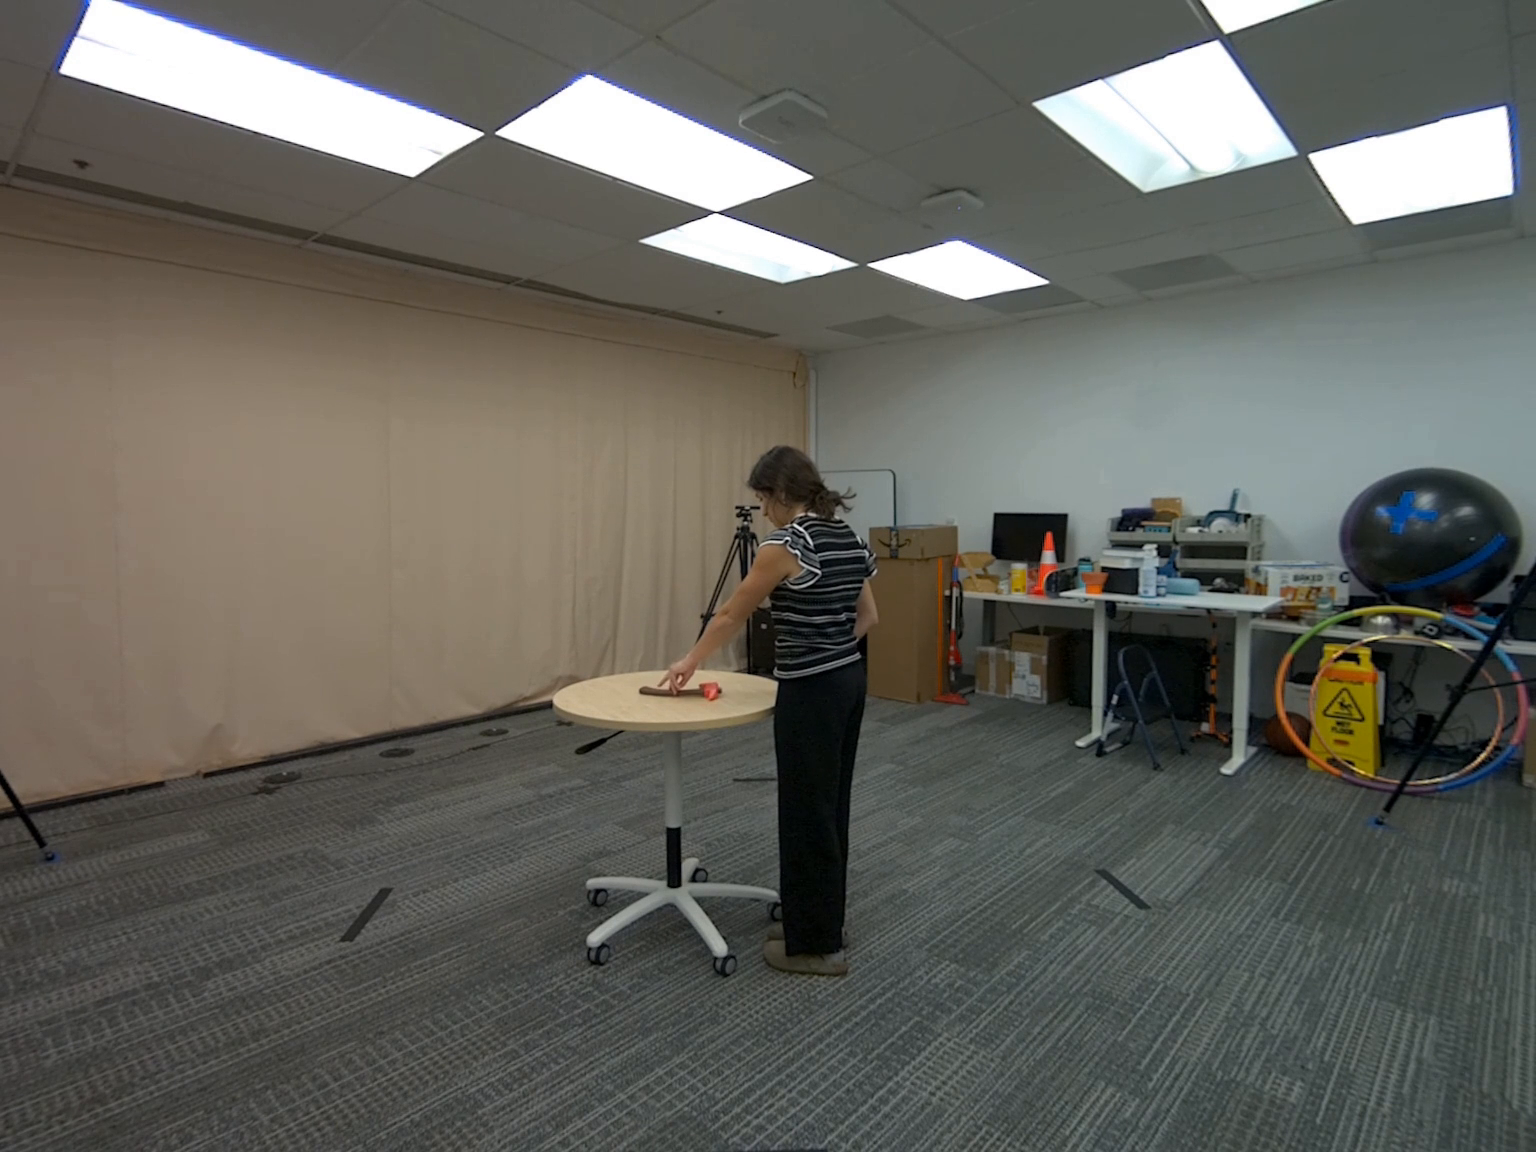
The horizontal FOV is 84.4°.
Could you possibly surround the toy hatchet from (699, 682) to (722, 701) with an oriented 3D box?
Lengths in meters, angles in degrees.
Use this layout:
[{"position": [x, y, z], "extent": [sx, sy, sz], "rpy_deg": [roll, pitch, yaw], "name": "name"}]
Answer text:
[{"position": [-0.265, 0.371, 2.722], "extent": [0.277, 0.029, 0.129], "rpy_deg": [1, 14, 25], "name": "toy hatchet"}]
